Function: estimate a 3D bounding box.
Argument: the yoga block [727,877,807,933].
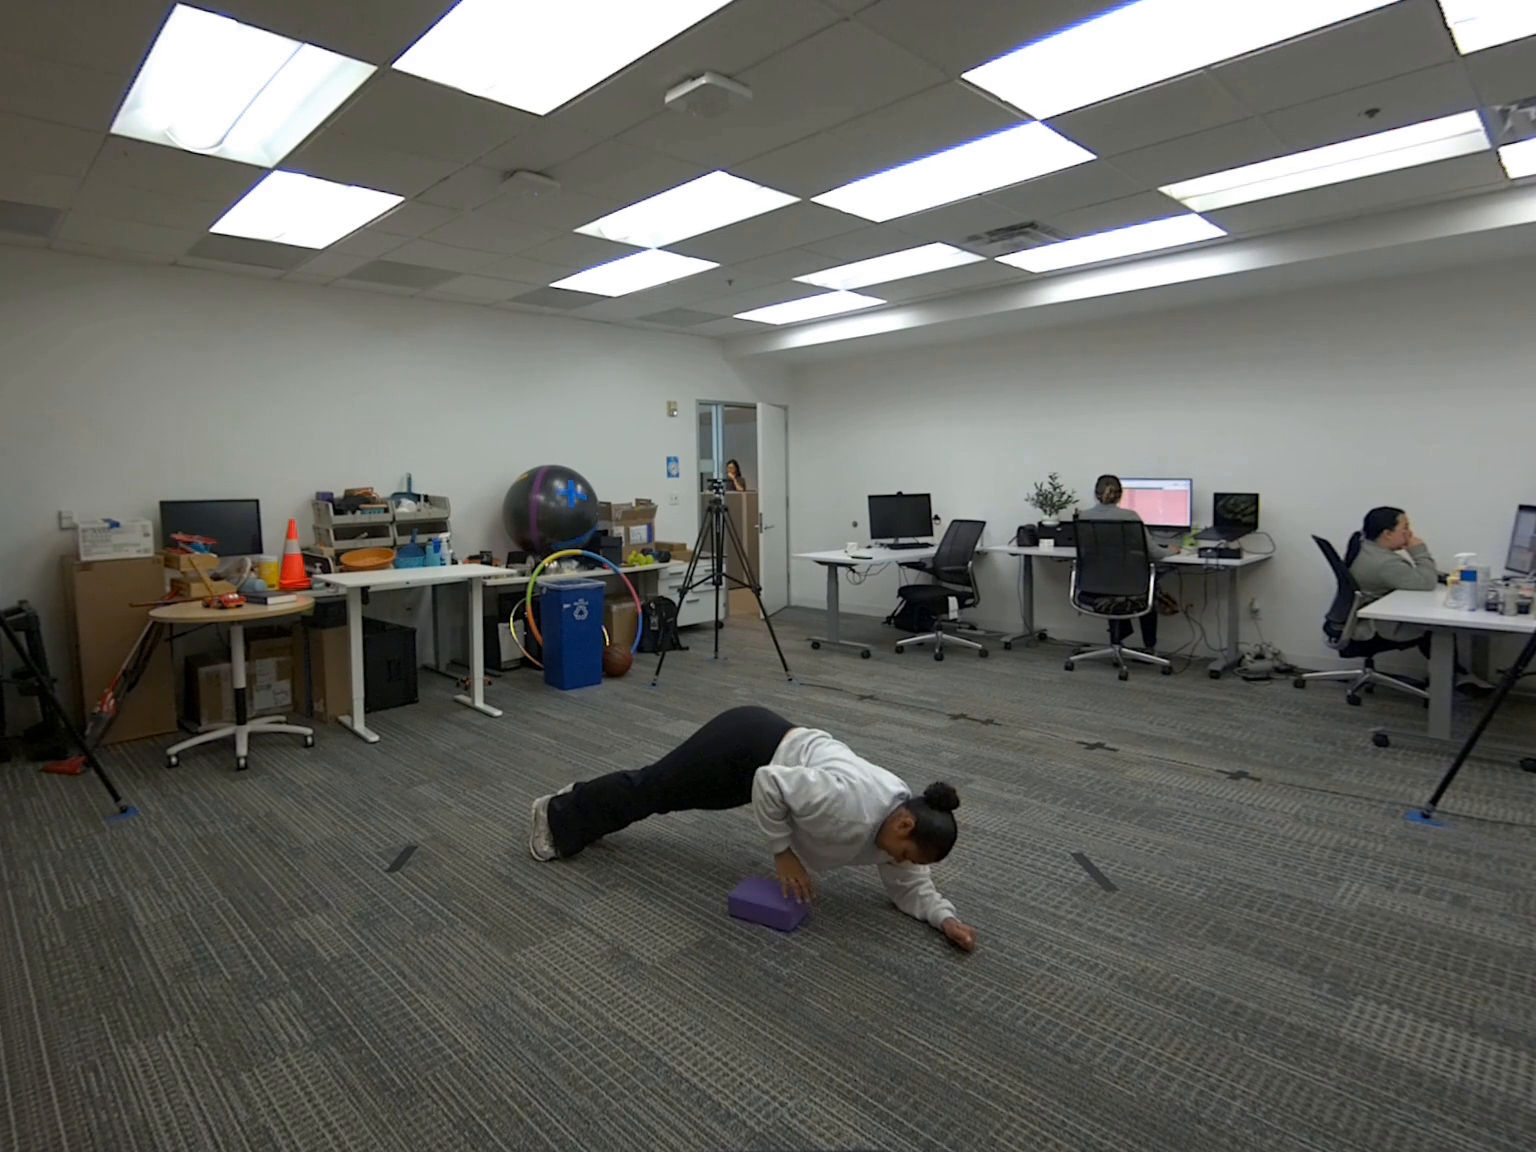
[{"bbox_3d":[0.014,1.045,2.739,0.235,0.076,0.146,0,8,28],"label":"yoga block"}]
